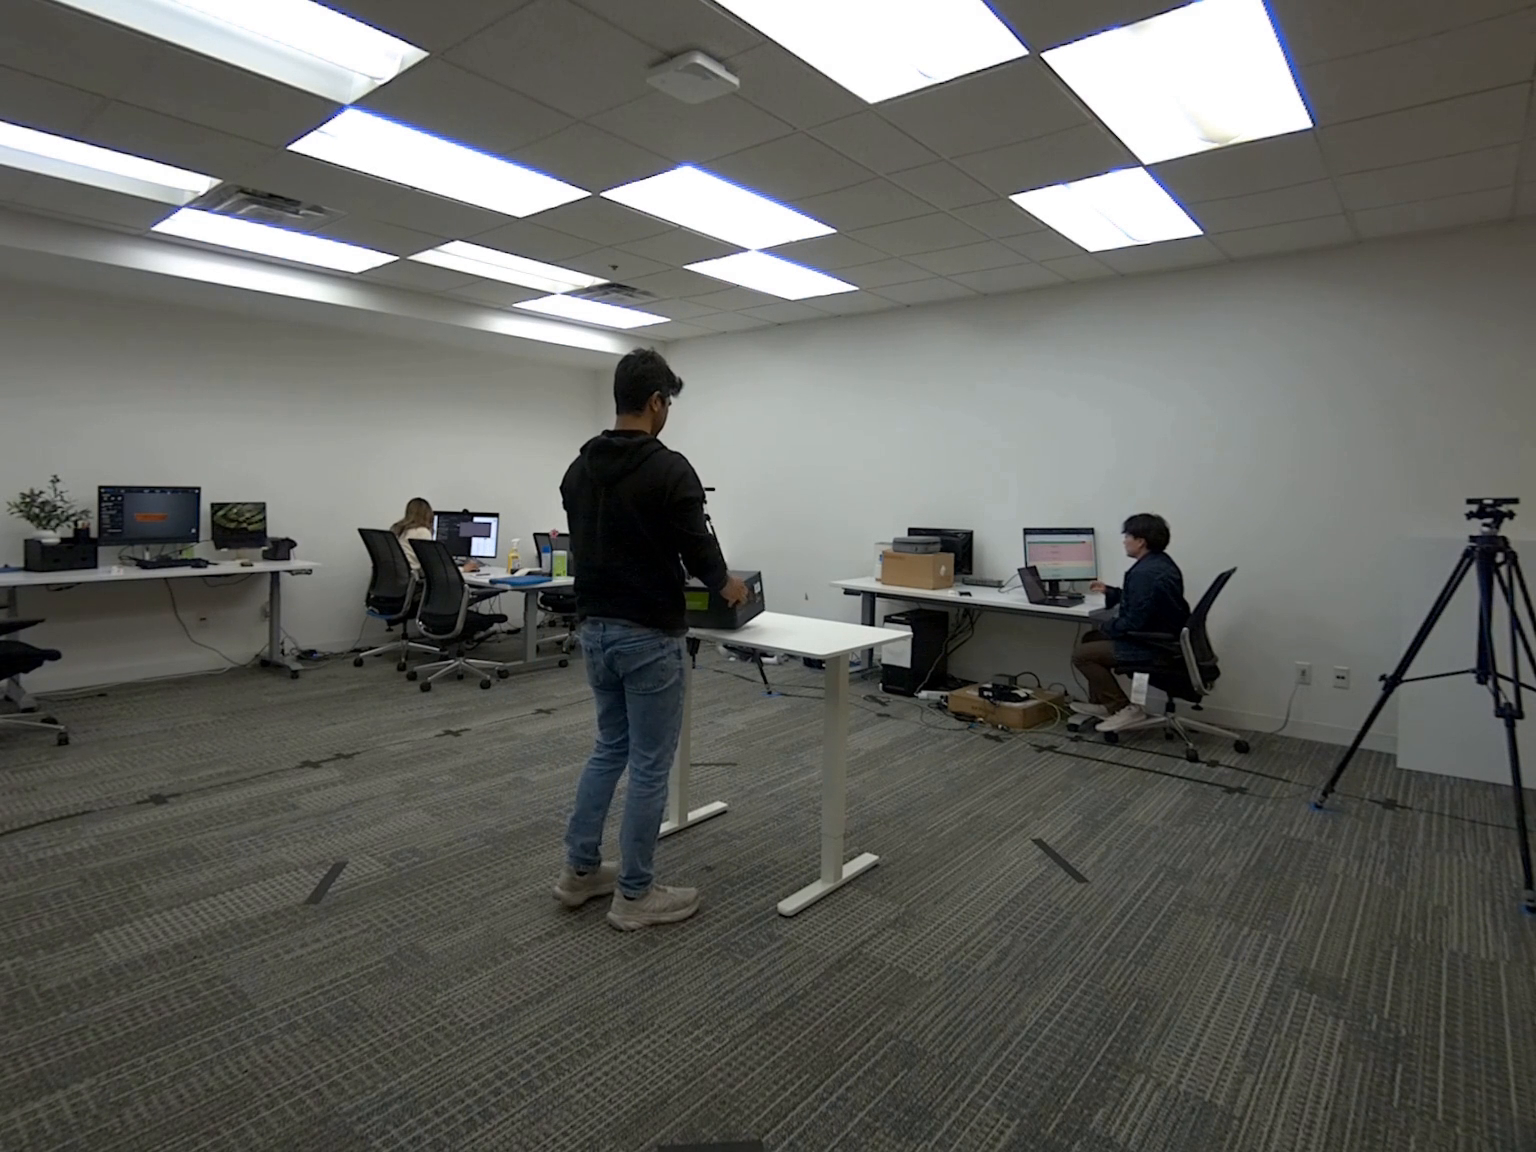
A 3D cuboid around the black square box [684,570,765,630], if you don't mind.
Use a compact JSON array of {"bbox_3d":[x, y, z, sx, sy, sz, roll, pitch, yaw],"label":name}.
[{"bbox_3d":[-0.183,0.079,3.111,0.234,0.154,0.214,1,16,30],"label":"black square box"}]
